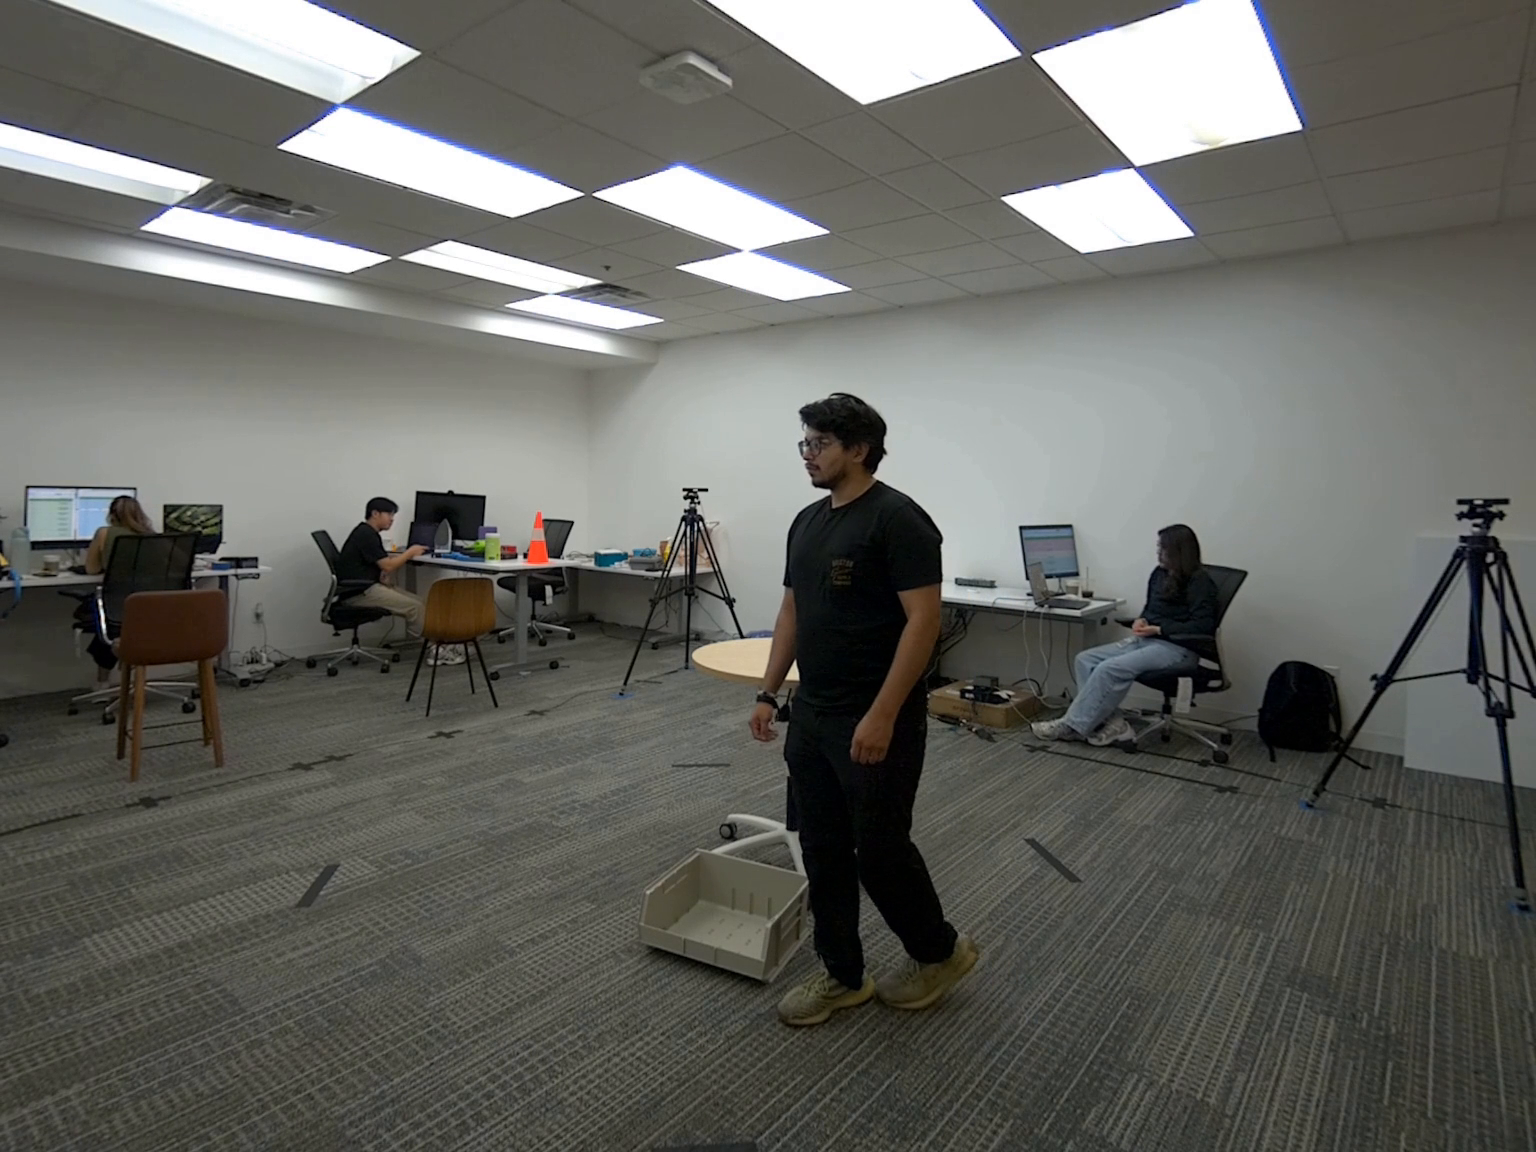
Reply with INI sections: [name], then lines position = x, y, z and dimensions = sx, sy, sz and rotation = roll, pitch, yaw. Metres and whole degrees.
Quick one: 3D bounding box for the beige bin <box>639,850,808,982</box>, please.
[beige bin]
position = -0.128, 1.032, 2.600
dimensions = 0.433, 0.188, 0.369
rotation = 3, 5, 25
